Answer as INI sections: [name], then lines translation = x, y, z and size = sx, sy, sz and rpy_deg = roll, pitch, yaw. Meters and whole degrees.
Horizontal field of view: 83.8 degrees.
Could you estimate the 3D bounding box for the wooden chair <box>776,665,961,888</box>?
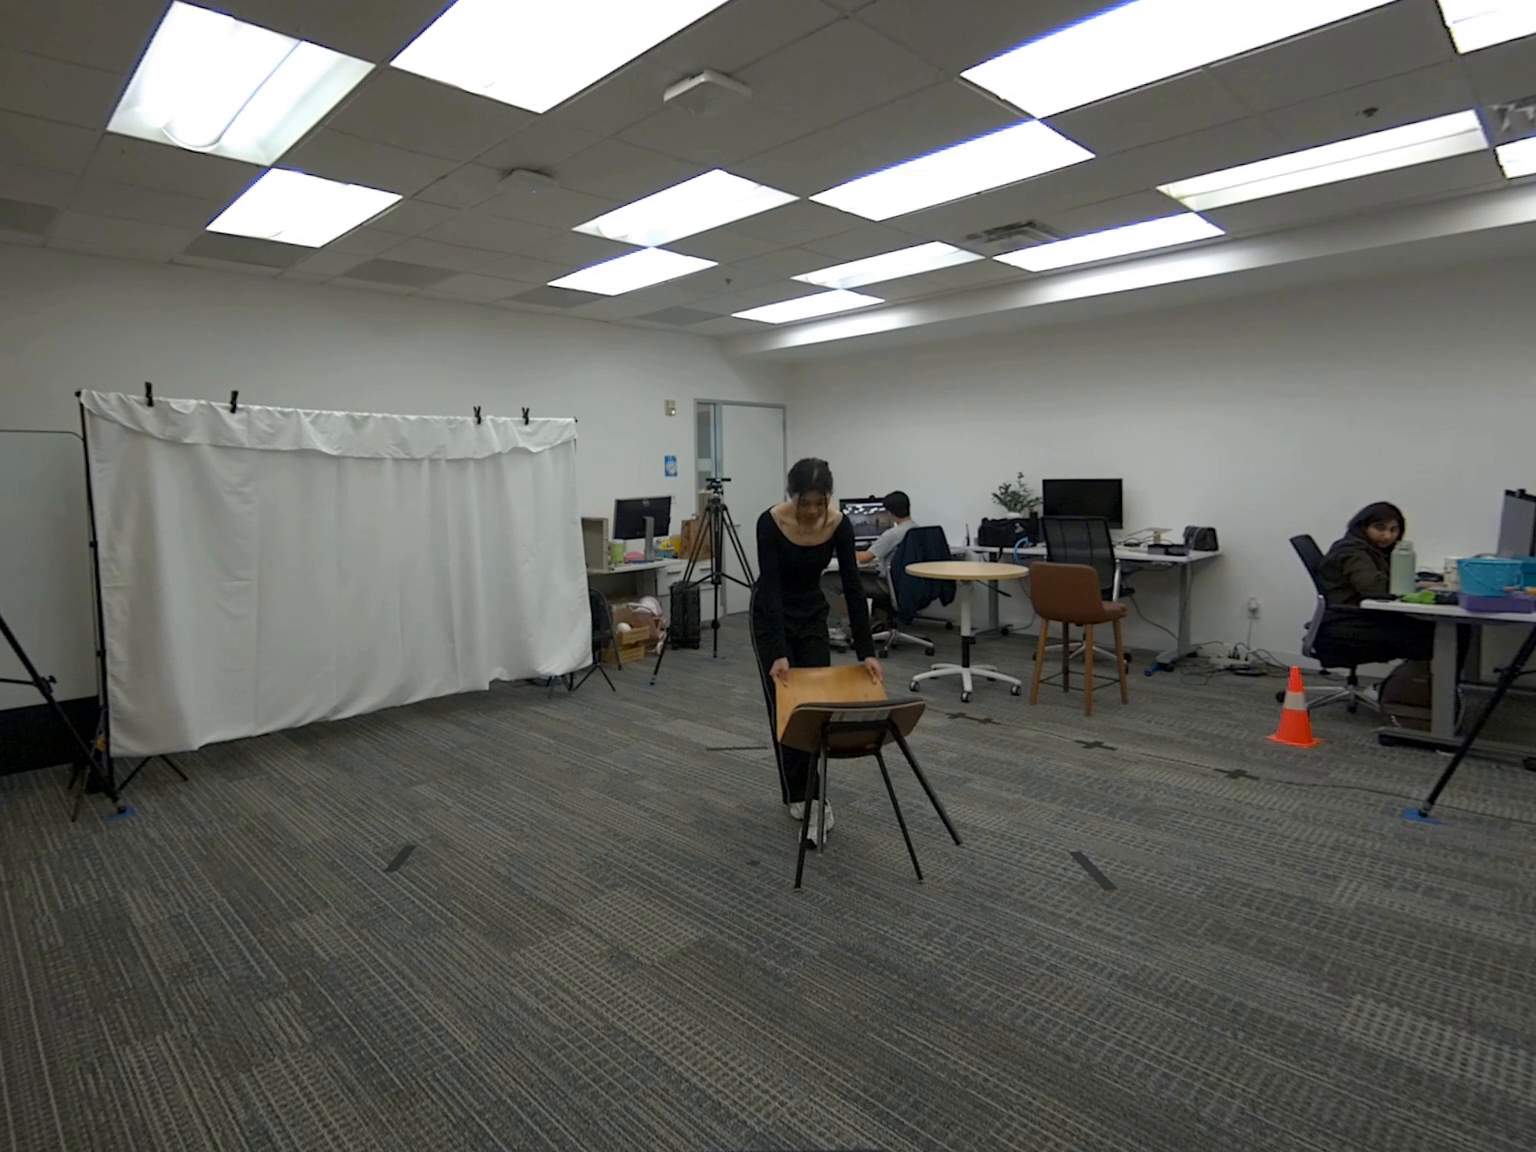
[wooden chair]
translation = 0.300, 0.577, 2.960
size = 0.475, 0.903, 0.511
rpy_deg = -2, -38, -7
